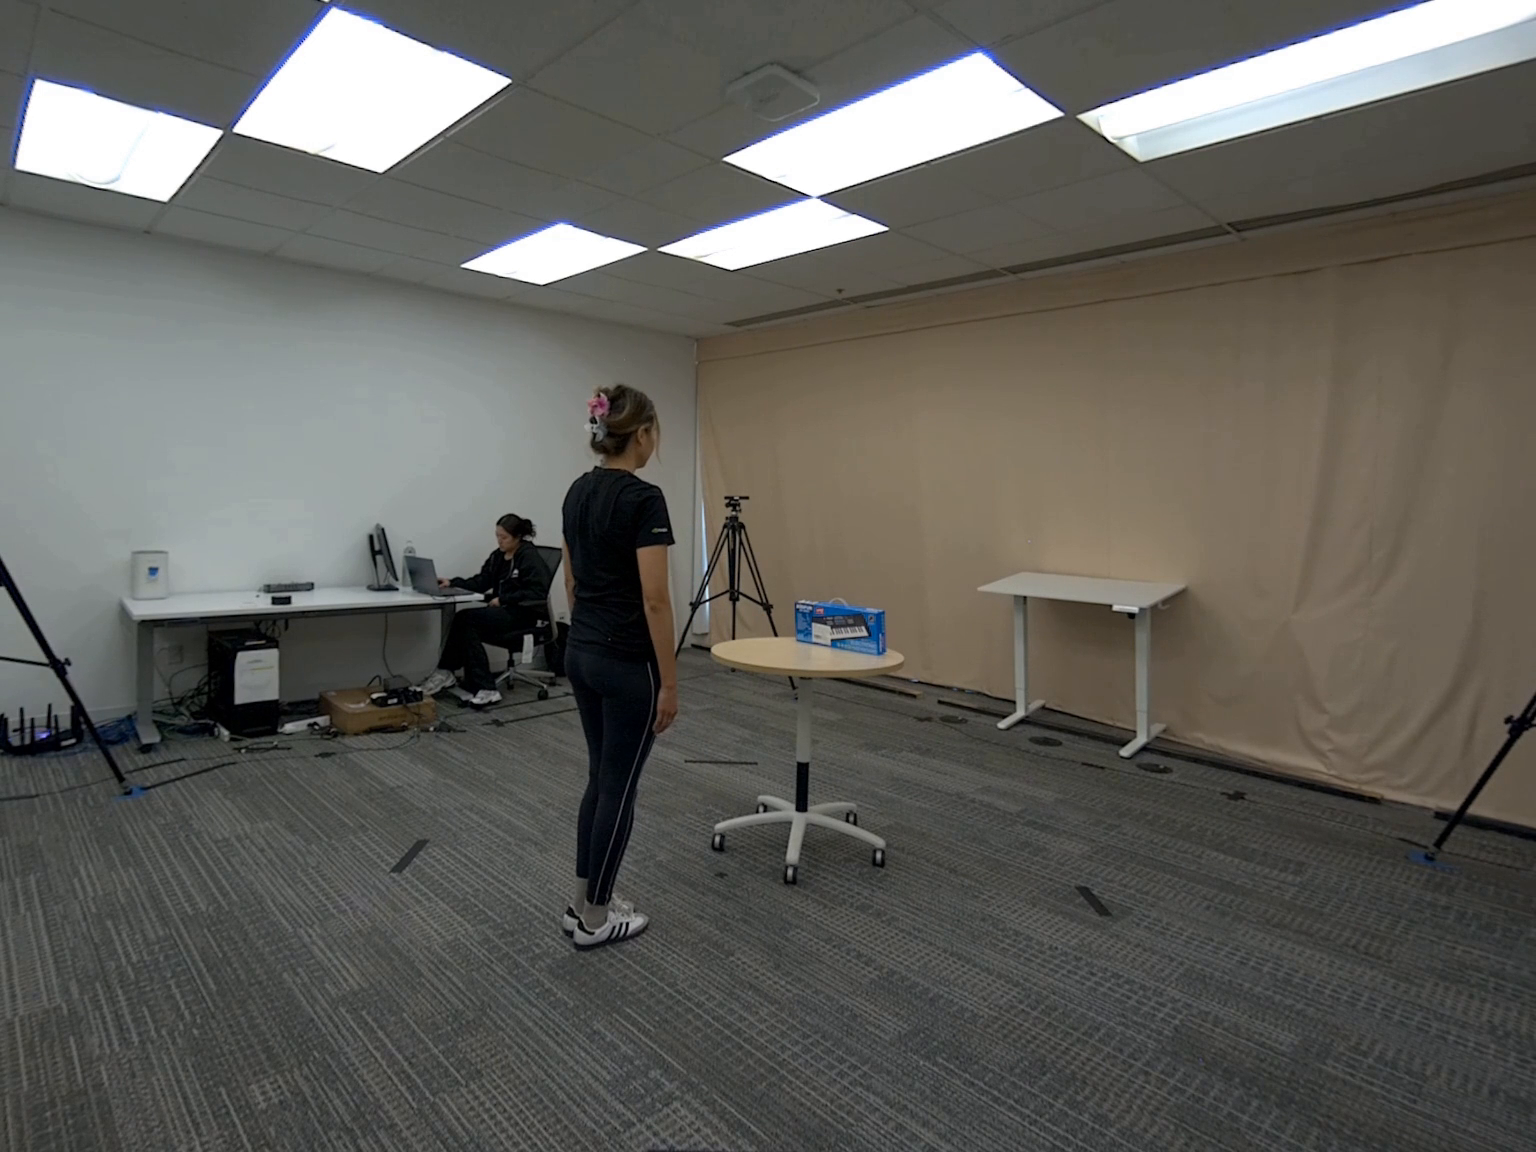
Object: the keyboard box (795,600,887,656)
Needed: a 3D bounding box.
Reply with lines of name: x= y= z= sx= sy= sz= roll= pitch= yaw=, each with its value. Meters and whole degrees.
keyboard box: x=0.288 y=0.211 z=3.499 sx=0.058 sy=0.175 sz=0.448 roll=-8 pitch=10 yaw=-44
